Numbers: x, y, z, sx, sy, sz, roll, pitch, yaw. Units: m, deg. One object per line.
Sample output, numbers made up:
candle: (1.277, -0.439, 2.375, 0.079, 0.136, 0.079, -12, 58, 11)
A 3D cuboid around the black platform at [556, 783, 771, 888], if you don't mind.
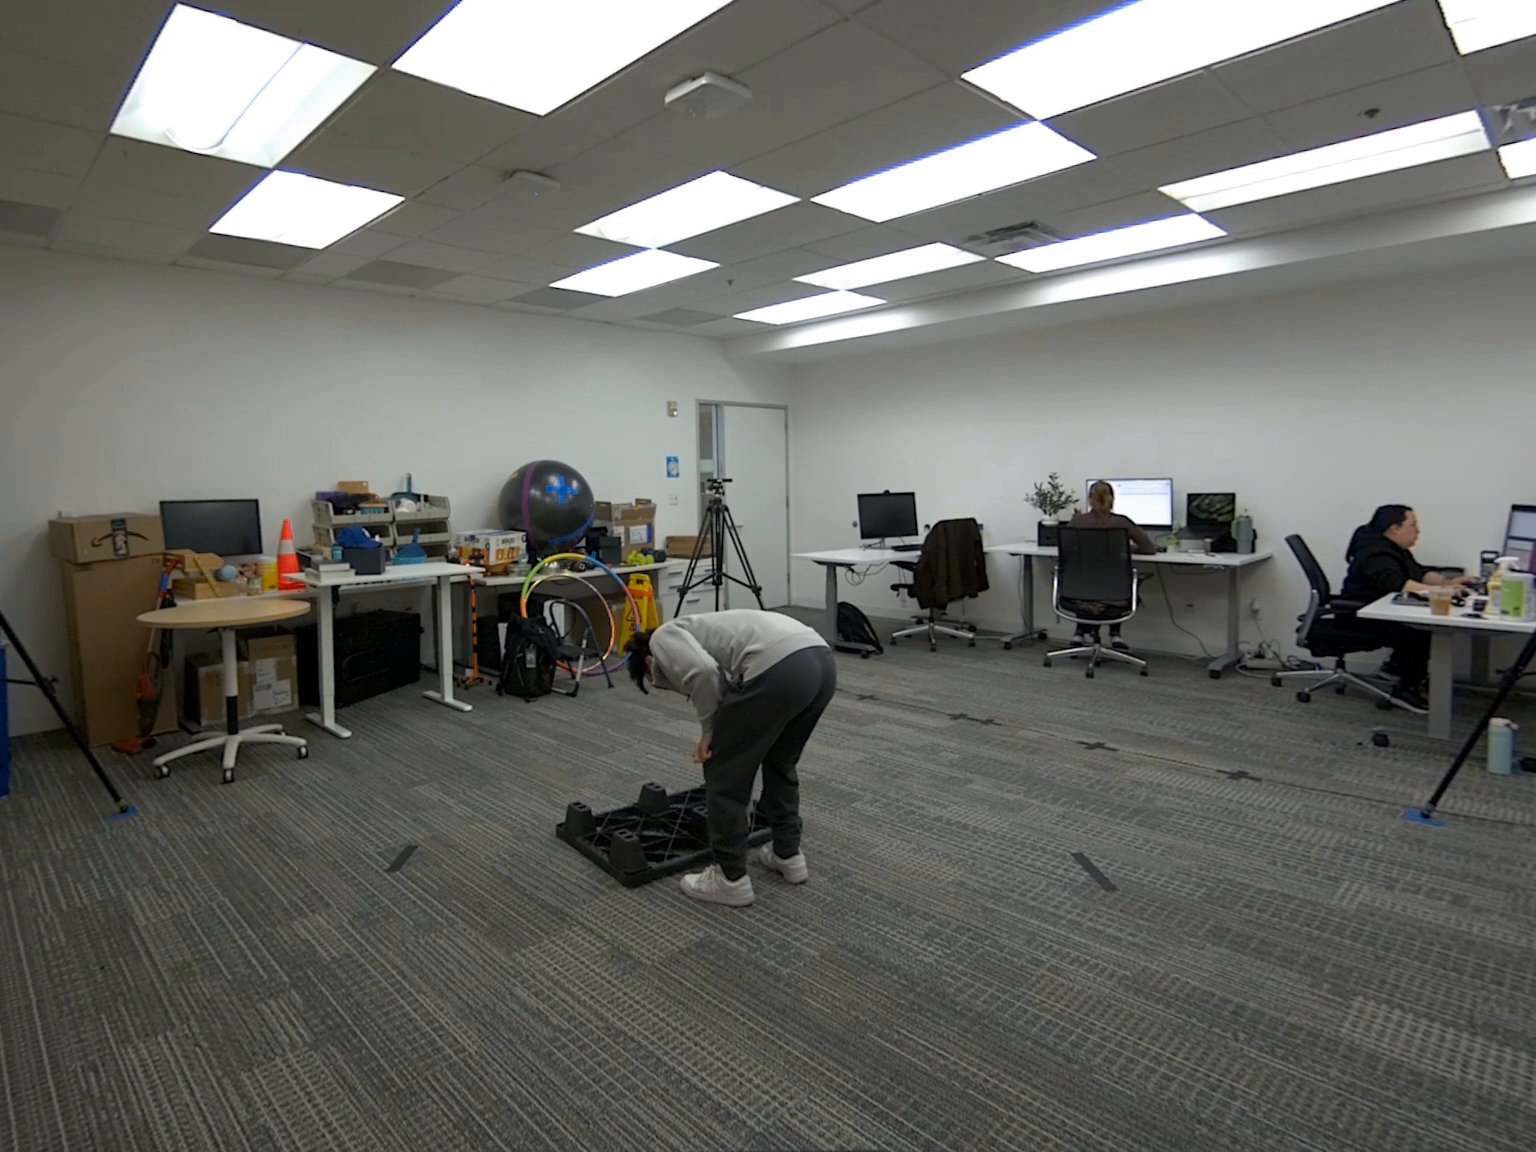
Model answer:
black platform: (-0.354, 0.946, 3.395, 0.785, 0.143, 0.623, -5, 7, -38)
